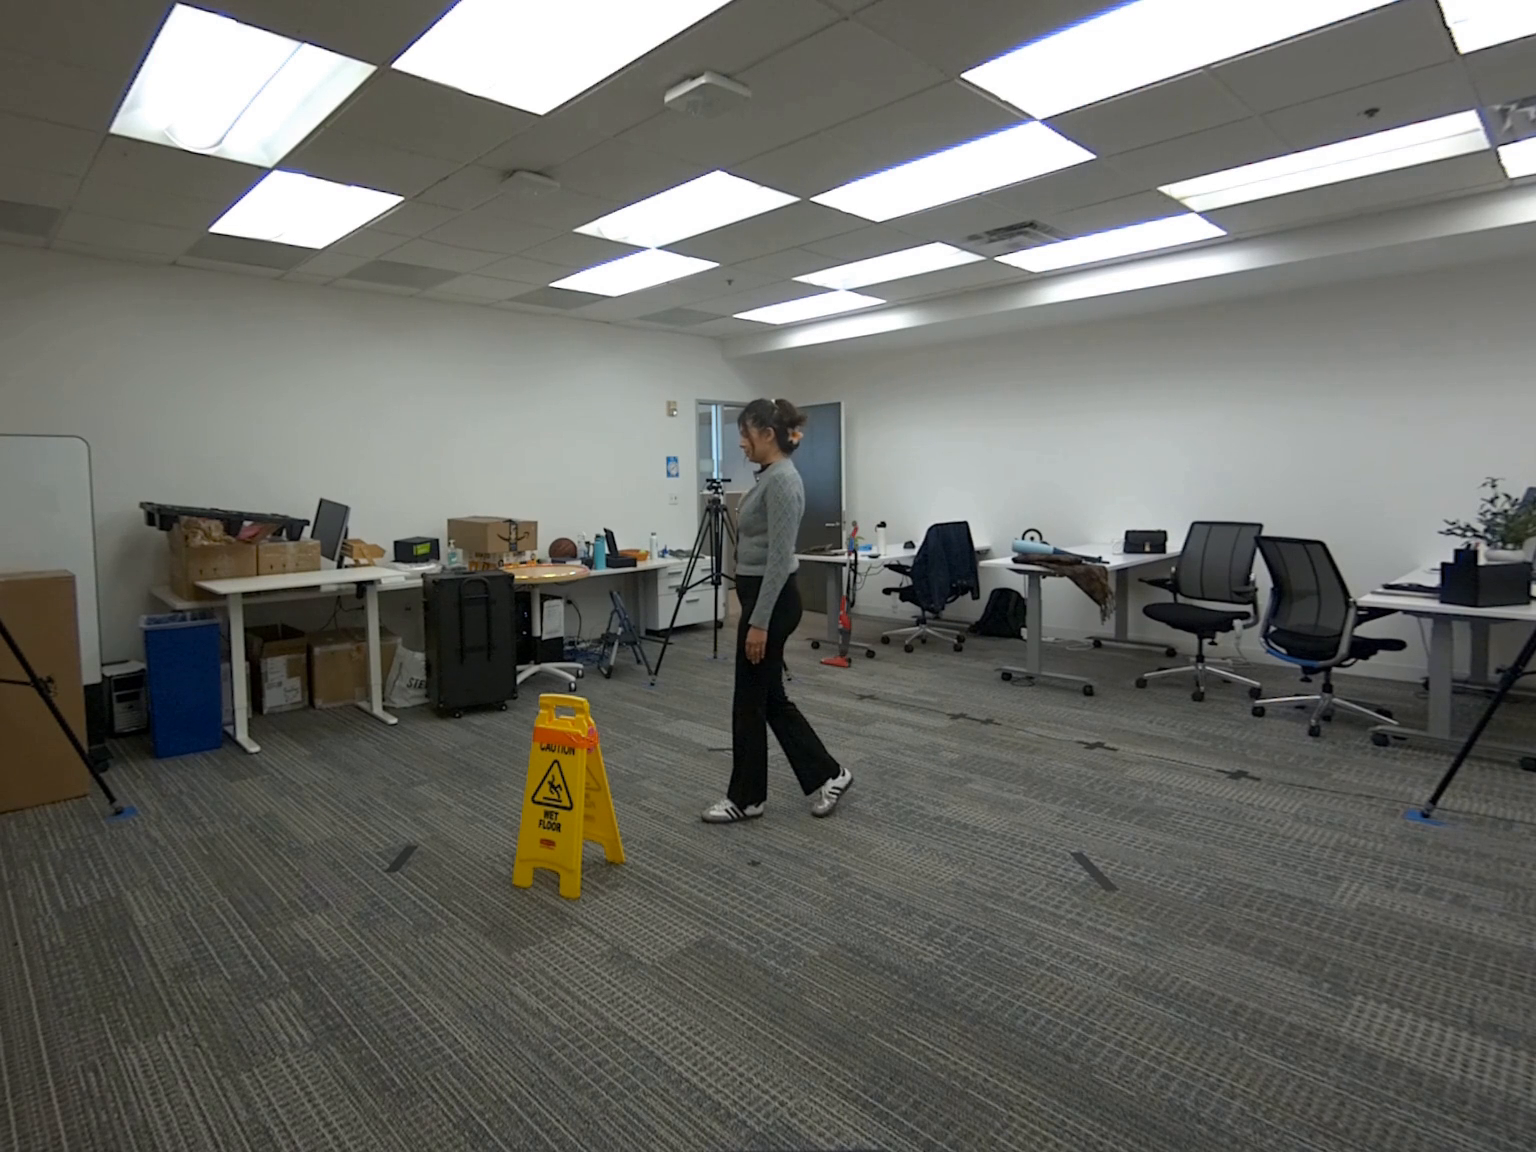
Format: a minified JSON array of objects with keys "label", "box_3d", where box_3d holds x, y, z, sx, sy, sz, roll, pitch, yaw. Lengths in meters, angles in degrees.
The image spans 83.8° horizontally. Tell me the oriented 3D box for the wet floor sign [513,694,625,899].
[{"label":"wet floor sign","box_3d":[-0.714,0.743,3.029,0.288,0.644,0.284,0,4,24]}]
